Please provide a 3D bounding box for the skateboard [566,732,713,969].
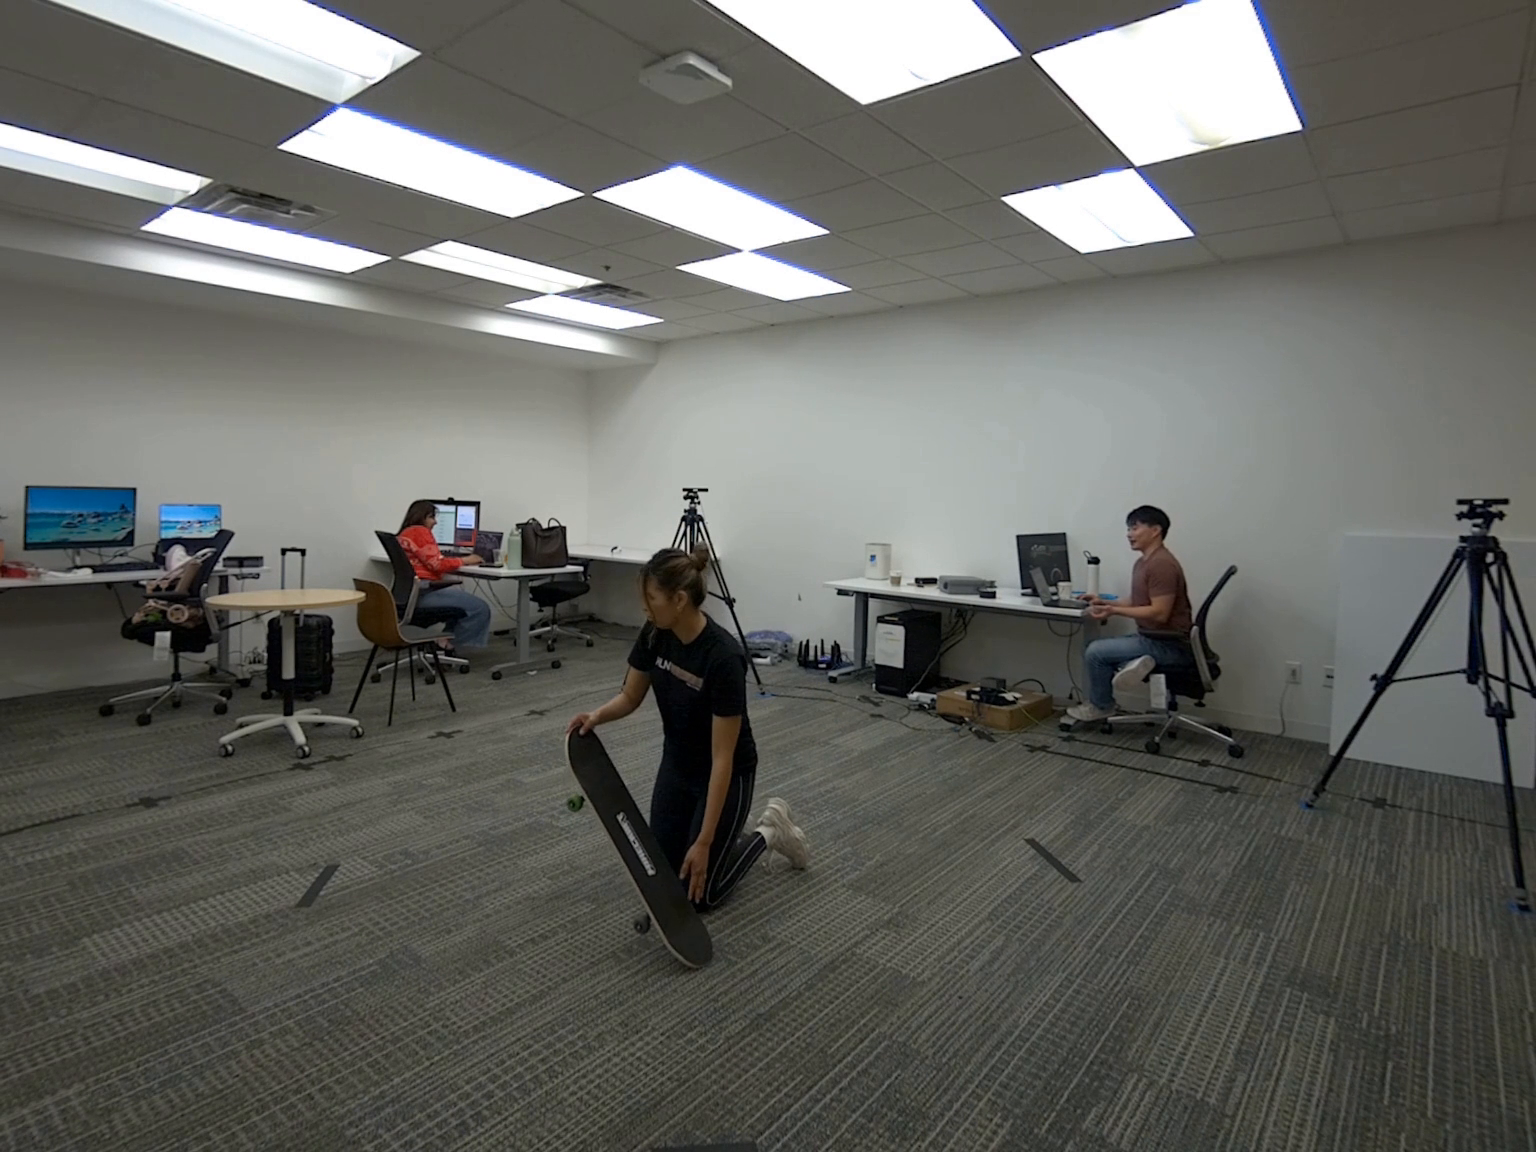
[{"bbox_3d":[-0.428,0.824,2.574,0.111,0.795,0.190,-38,-9,22],"label":"skateboard"}]
